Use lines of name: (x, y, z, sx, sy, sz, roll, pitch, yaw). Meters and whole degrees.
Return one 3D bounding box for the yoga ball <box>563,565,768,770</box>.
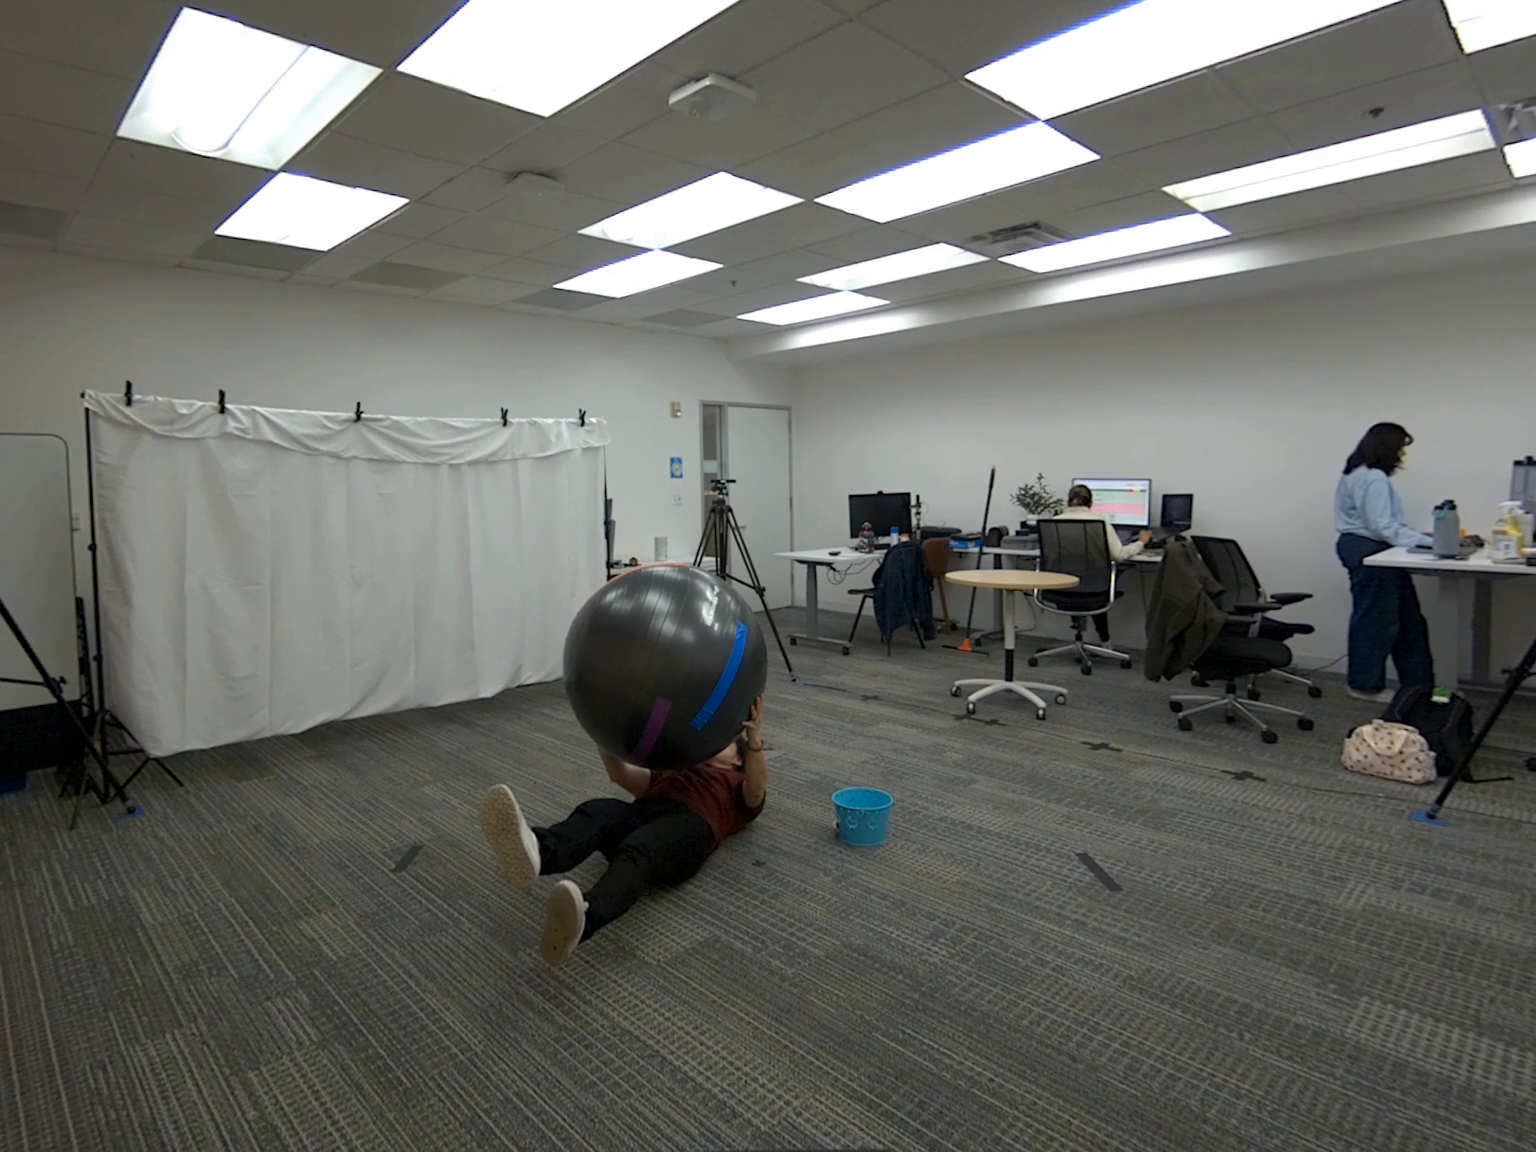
yoga ball: (-0.385, 0.334, 3.193, 0.757, 0.755, 0.762, -1, 5, -2)
